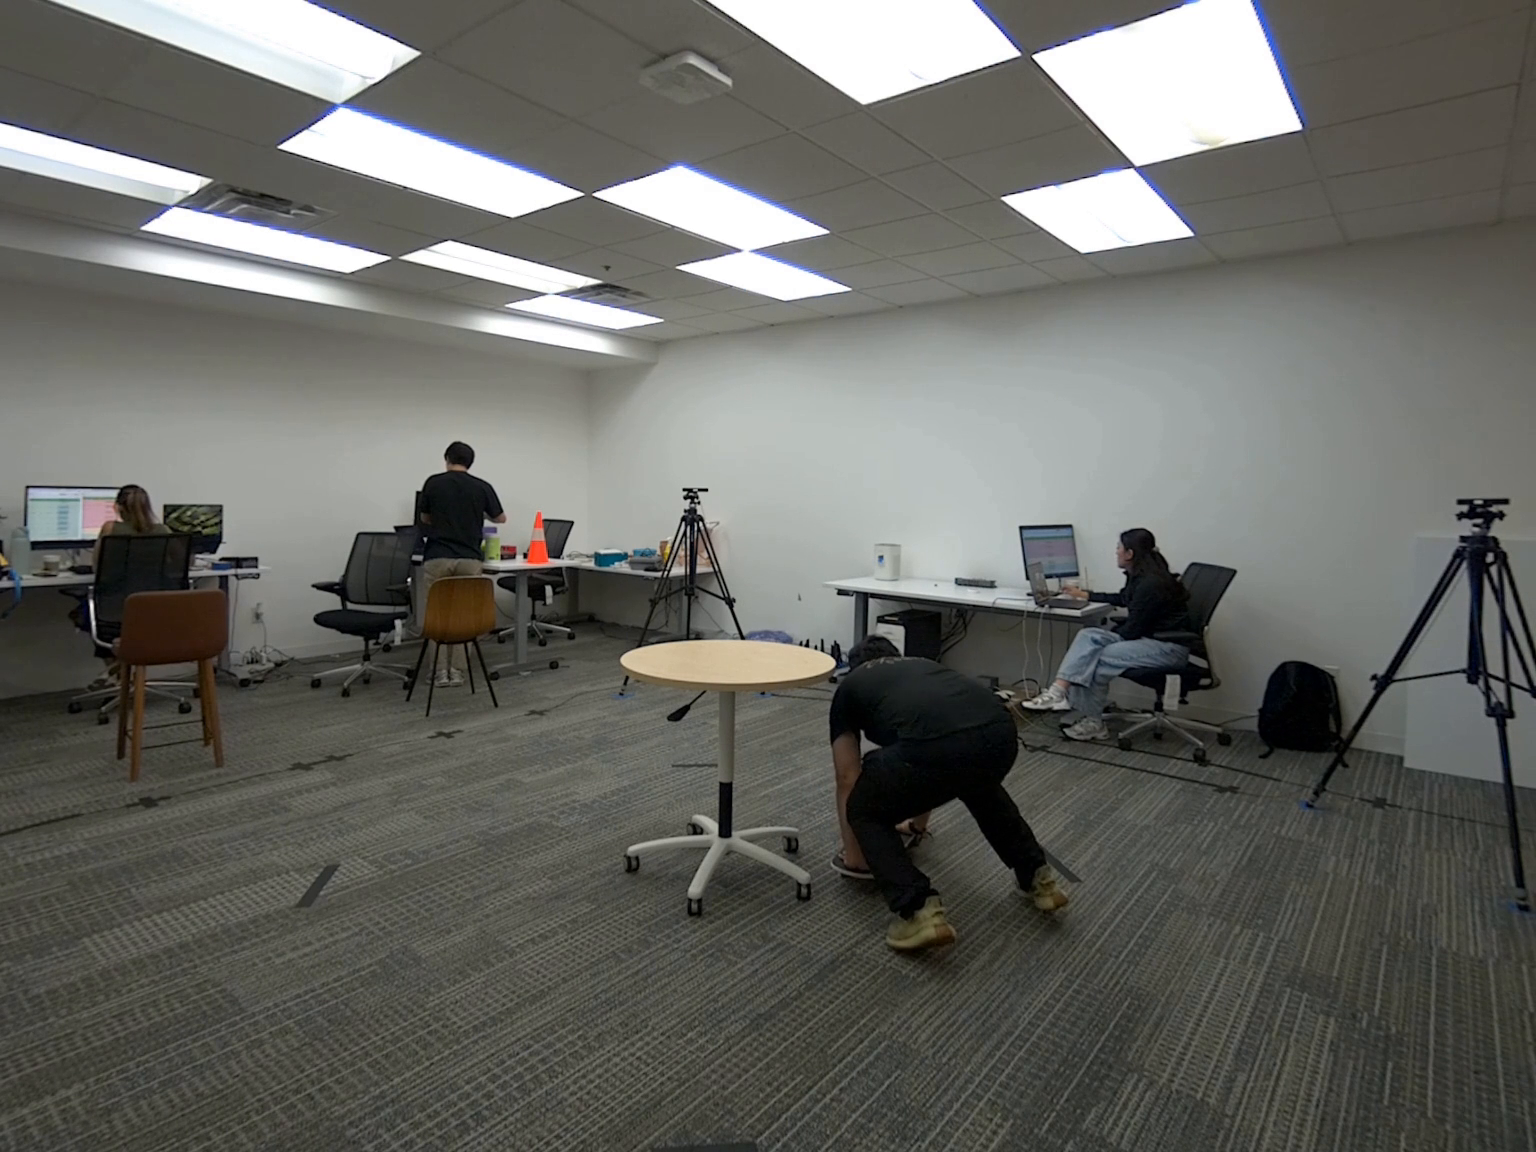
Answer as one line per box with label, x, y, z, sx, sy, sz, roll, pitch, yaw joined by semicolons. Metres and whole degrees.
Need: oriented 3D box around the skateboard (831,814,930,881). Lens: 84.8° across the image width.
skateboard;0.423;1.007;3.228;0.199;0.110;0.768;5;7;25
